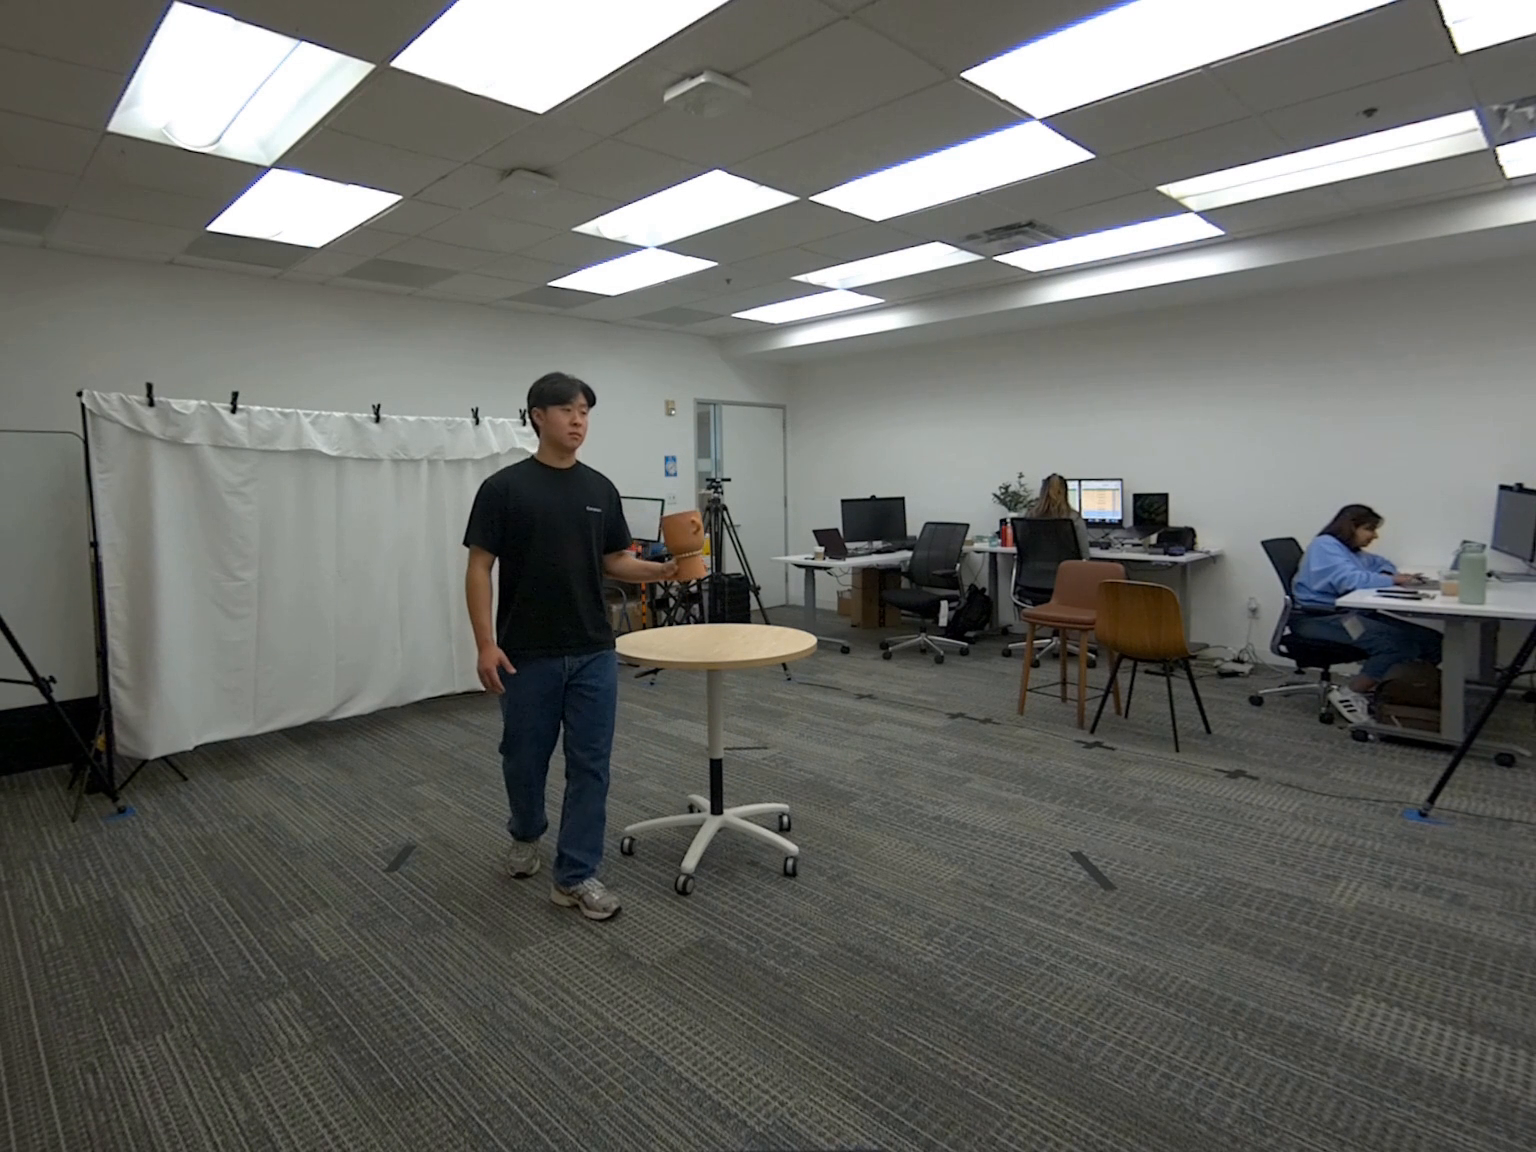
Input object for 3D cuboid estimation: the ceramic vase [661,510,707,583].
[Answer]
[{"bbox_3d":[-0.268,-0.095,2.772,0.135,0.219,0.159,-11,4,4],"label":"ceramic vase"}]
